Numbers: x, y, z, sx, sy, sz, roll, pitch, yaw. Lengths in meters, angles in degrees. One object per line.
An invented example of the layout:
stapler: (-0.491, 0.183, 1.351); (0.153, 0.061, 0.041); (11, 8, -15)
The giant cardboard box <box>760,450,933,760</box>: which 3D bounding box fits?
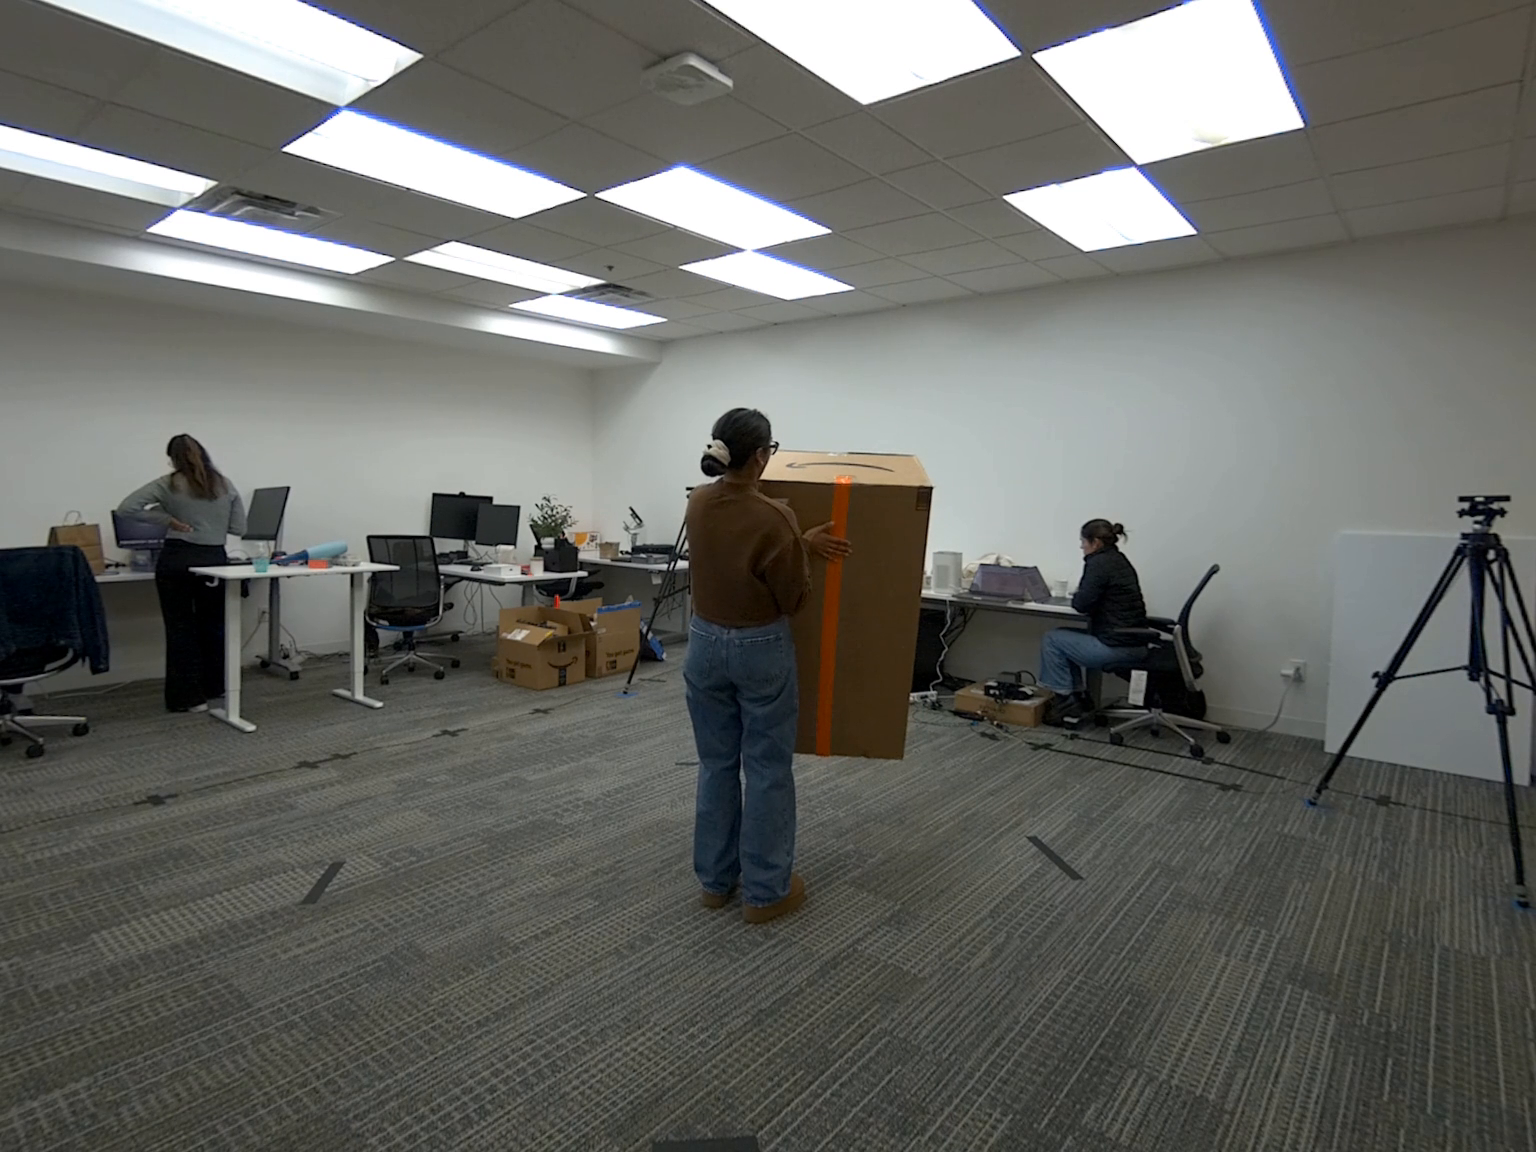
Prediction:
giant cardboard box: (0.229, 0.093, 3.111); (0.580, 1.008, 0.432); (4, 20, 3)
